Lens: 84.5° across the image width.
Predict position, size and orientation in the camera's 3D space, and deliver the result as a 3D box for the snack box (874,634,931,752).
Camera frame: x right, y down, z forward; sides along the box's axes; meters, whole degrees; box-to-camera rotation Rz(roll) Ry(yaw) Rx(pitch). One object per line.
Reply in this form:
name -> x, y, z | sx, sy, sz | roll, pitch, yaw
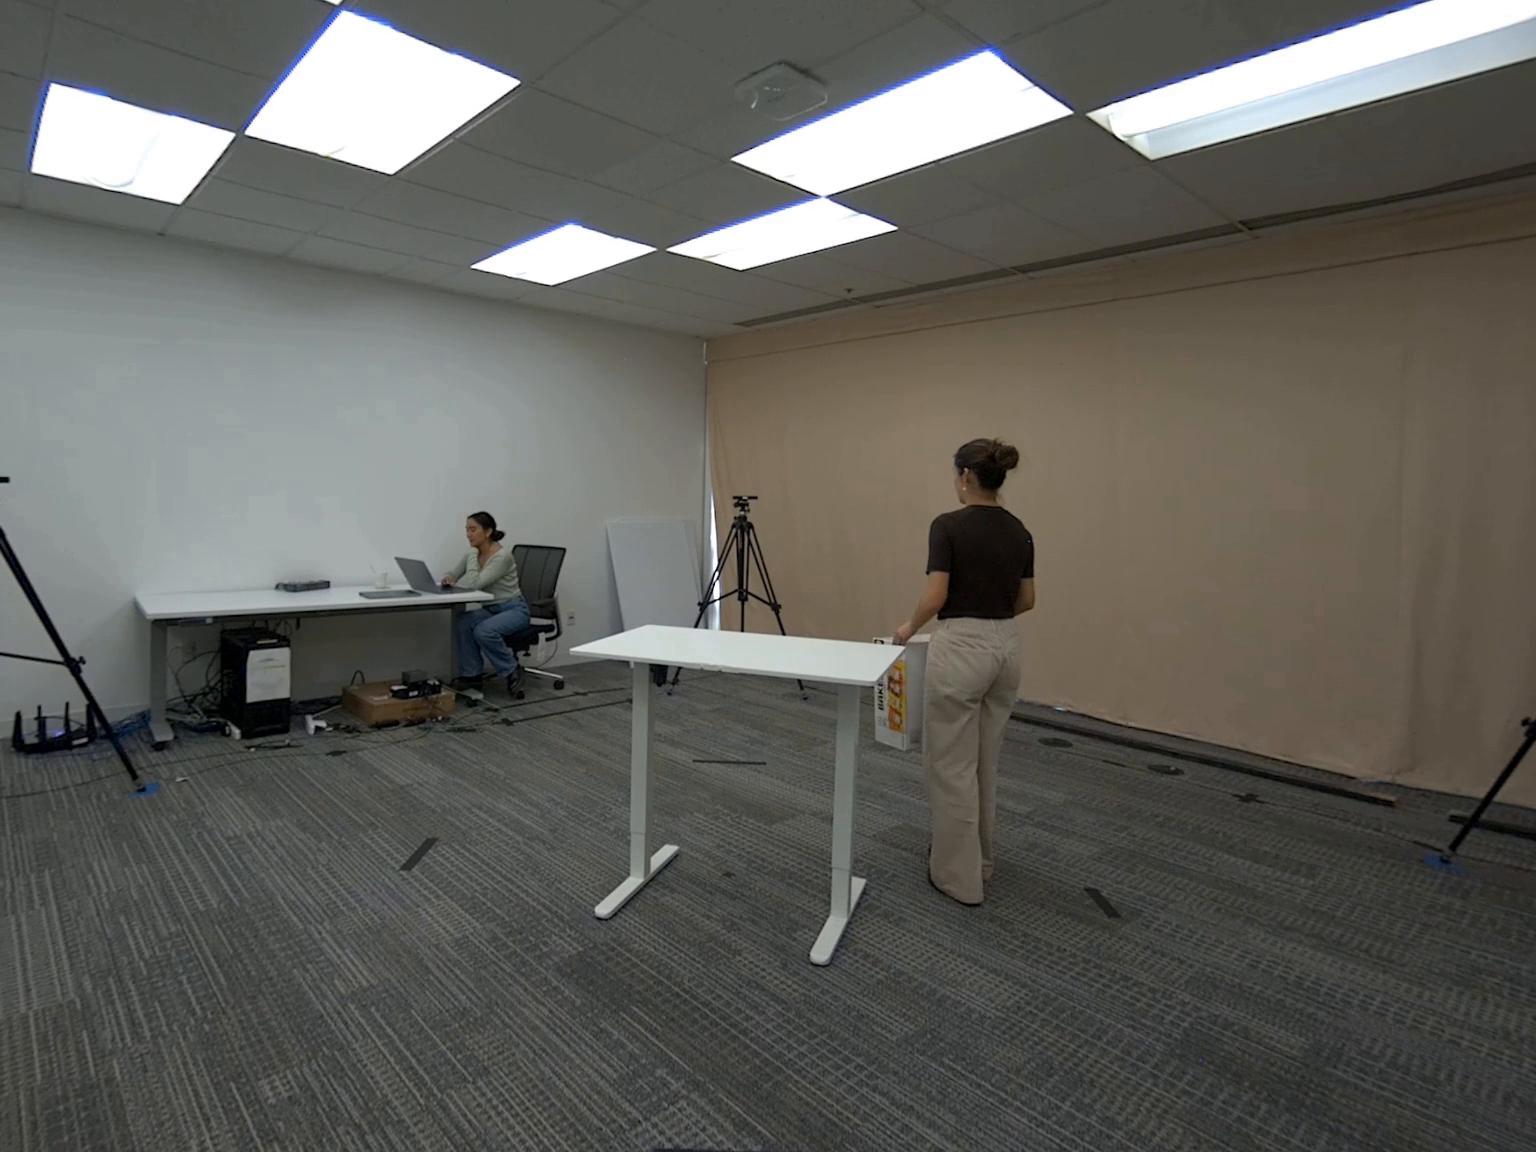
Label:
snack box -> 0.615, 0.446, 3.312 | 0.334, 0.405, 0.209 | -1, 0, -26
